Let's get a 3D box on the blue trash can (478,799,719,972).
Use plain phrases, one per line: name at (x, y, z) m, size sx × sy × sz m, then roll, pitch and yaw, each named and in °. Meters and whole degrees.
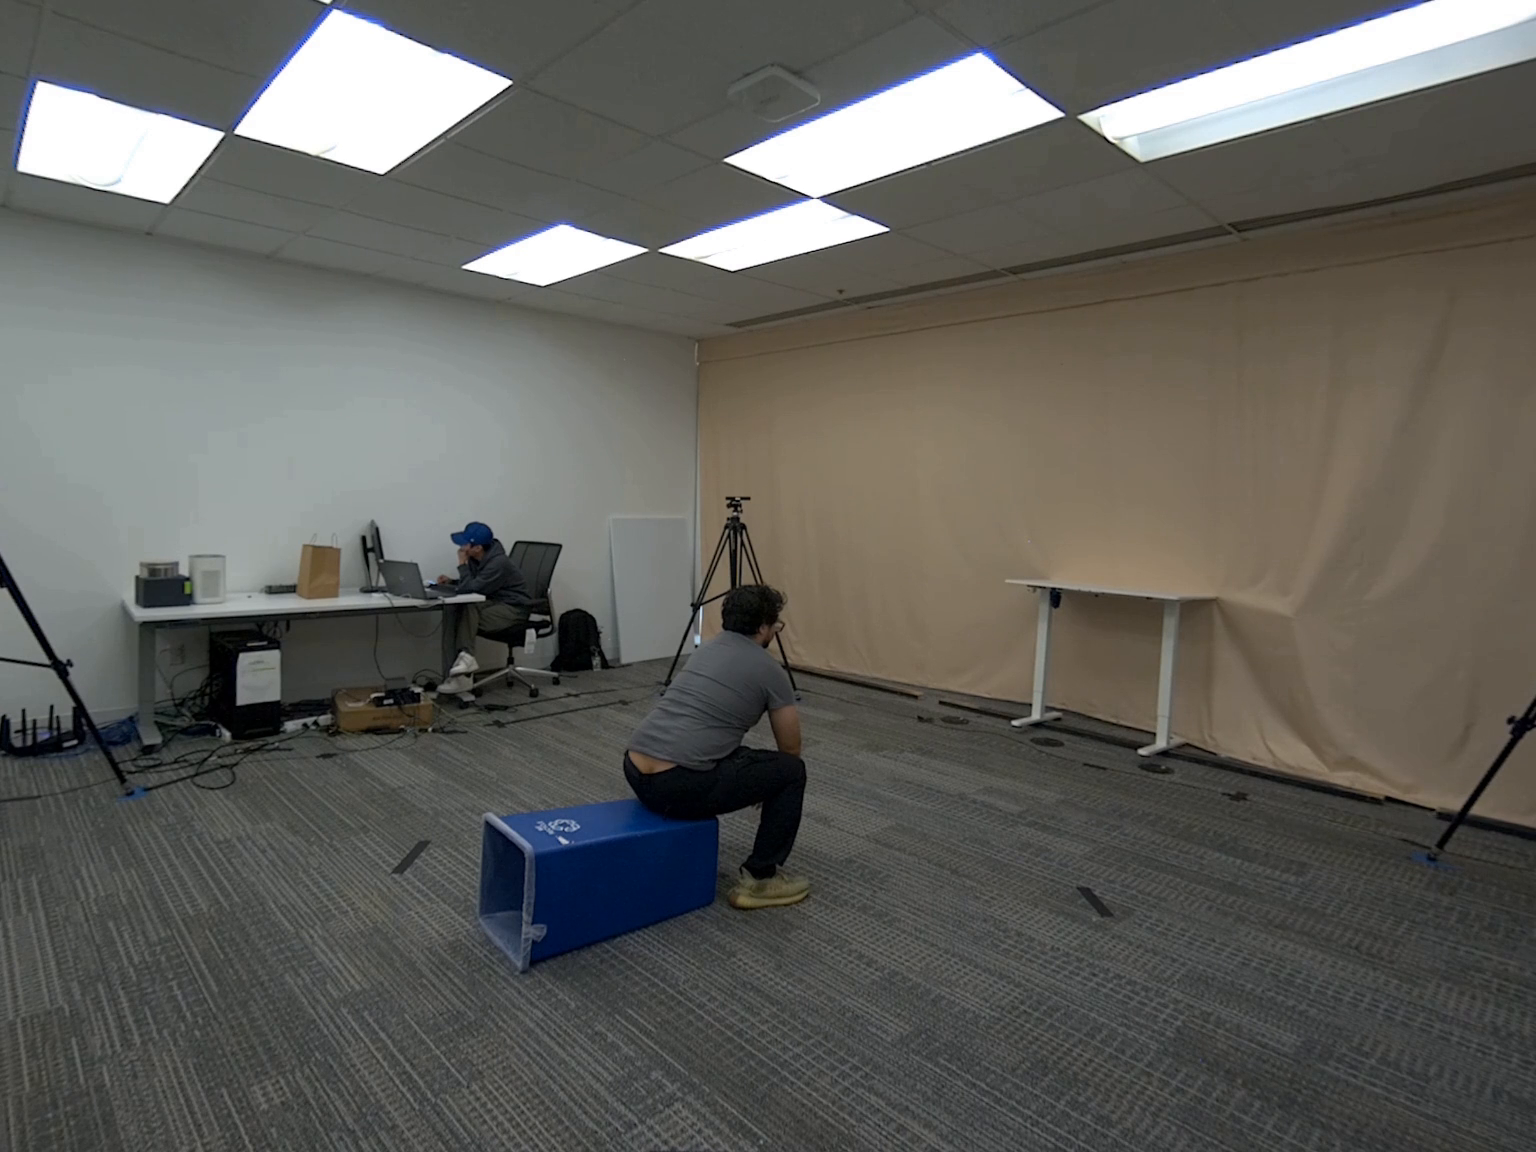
blue trash can at (-0.554, 0.953, 2.777) m, size 0.697 × 0.373 × 0.387 m, roll 0°, pitch 4°, yaw -38°
